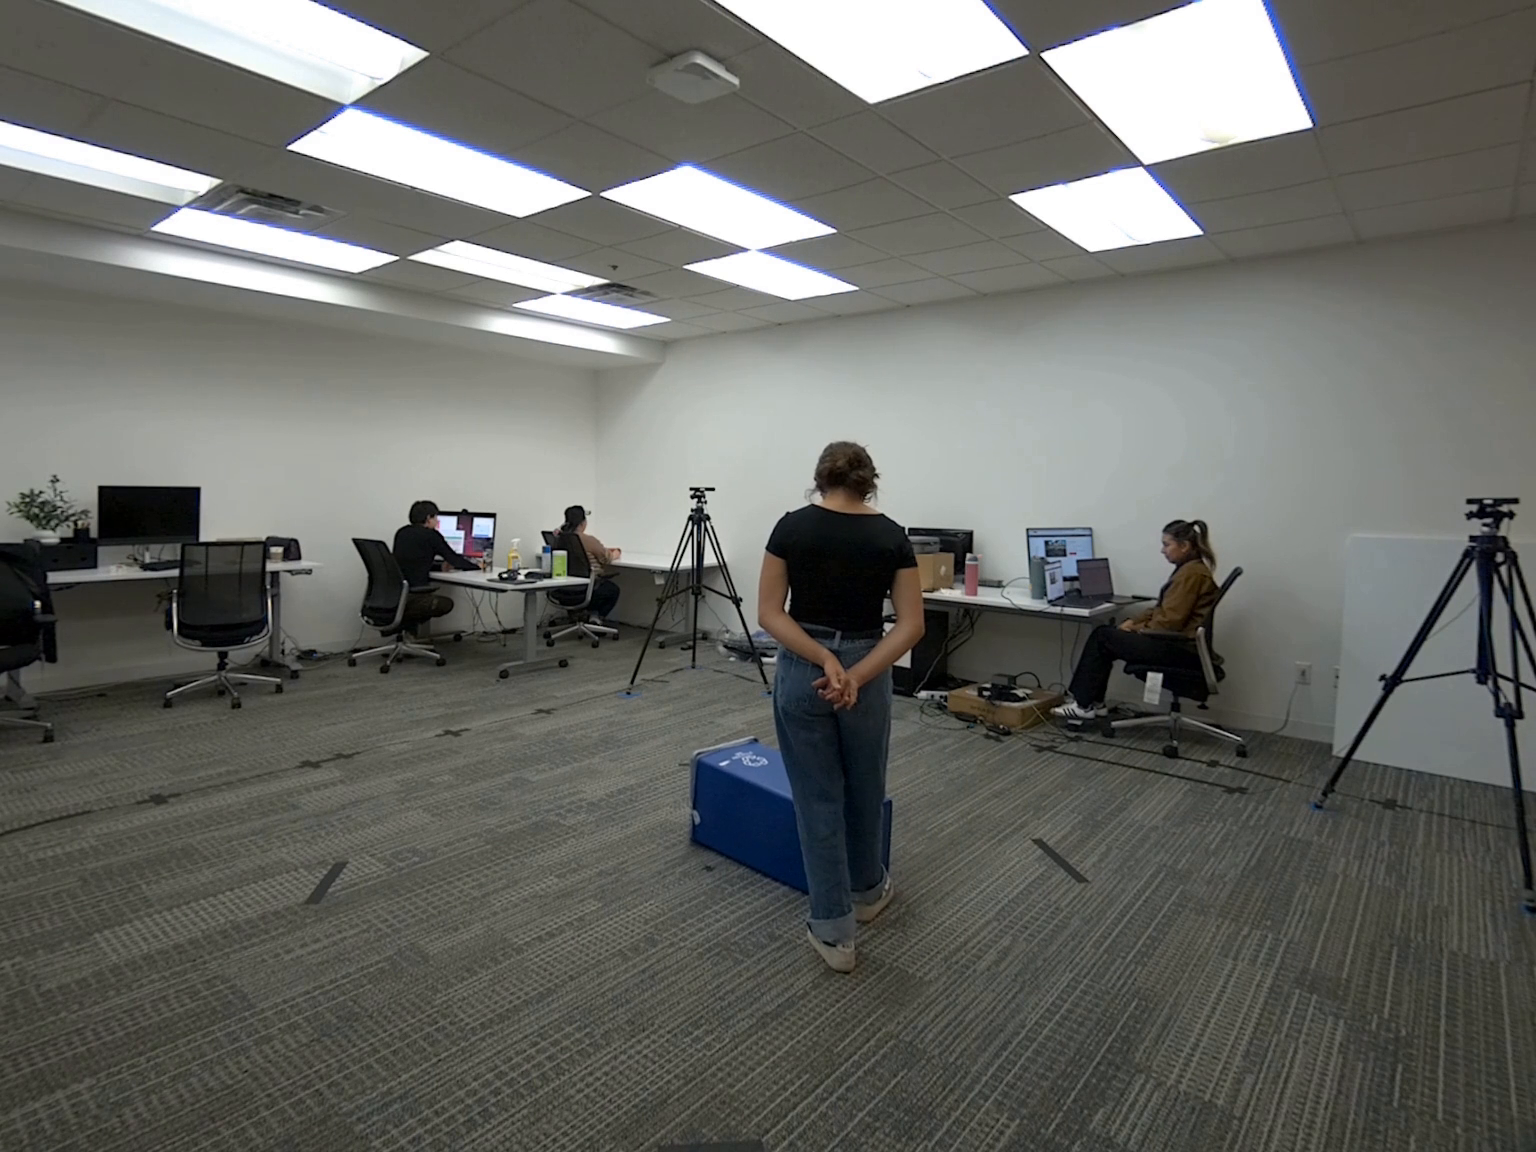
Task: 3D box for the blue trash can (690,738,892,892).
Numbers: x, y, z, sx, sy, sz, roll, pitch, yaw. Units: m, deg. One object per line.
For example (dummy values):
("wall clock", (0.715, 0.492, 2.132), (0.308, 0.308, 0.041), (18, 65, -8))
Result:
("blue trash can", (0.065, 0.898, 3.173), (0.739, 0.376, 0.363), (10, 9, 43))
